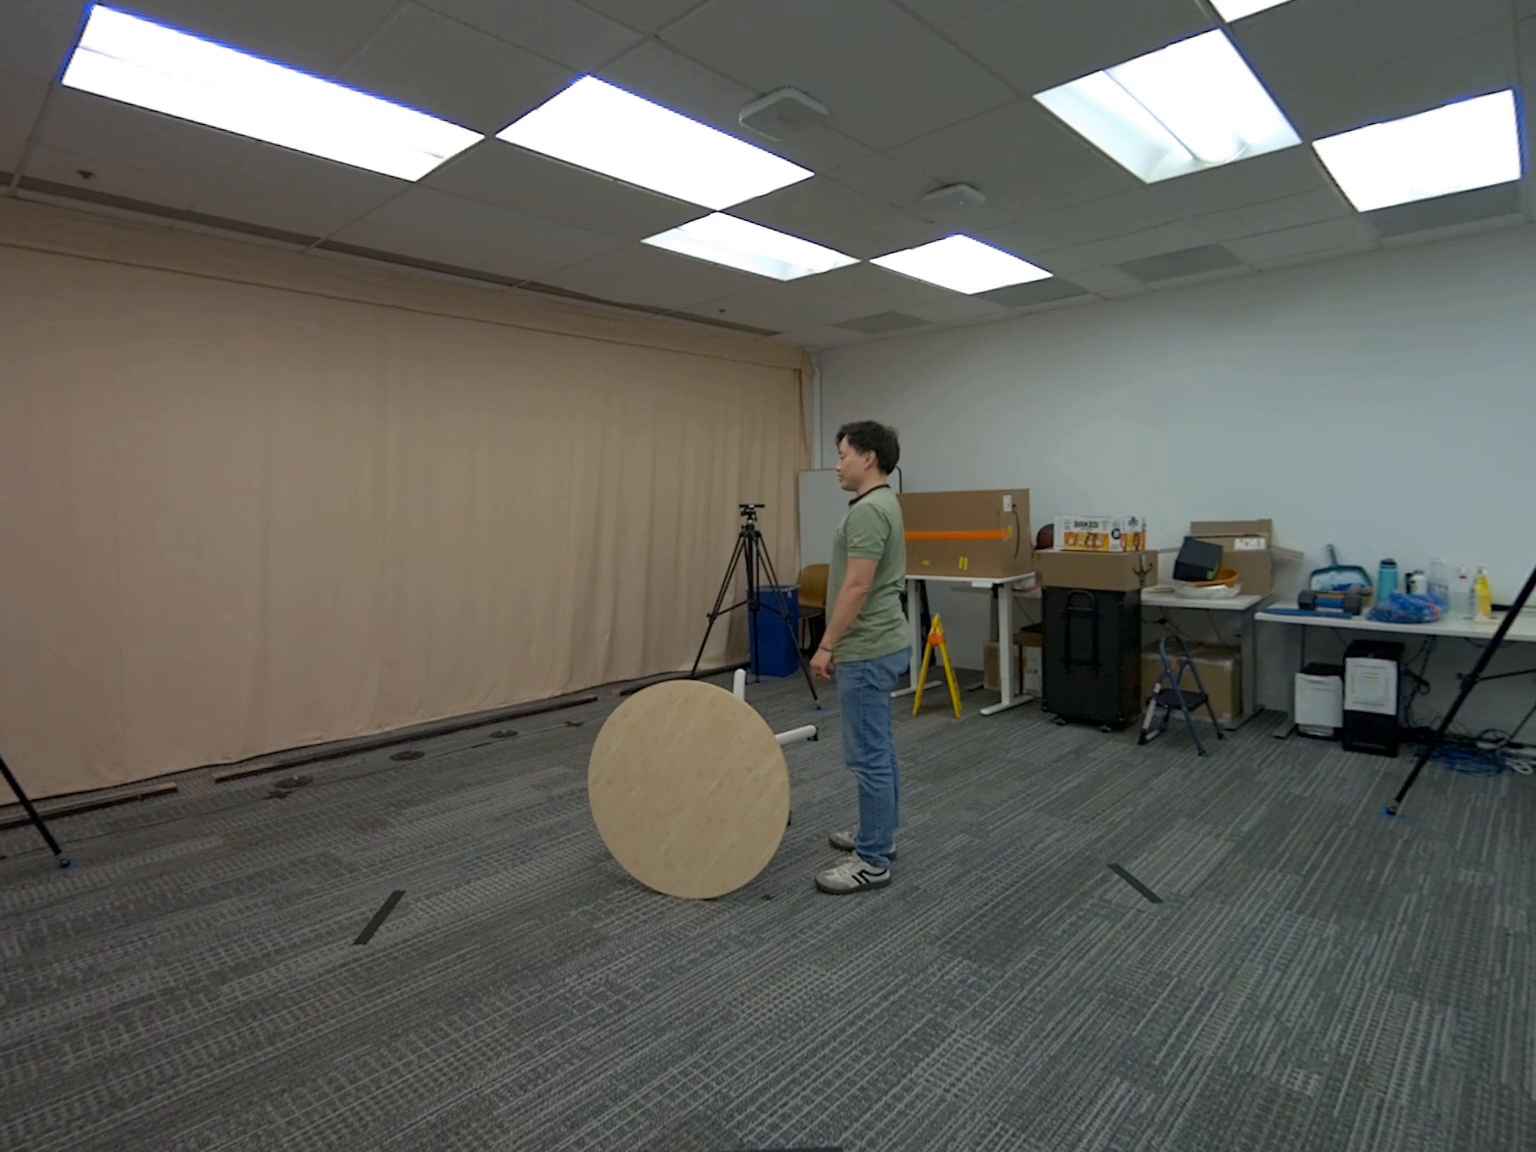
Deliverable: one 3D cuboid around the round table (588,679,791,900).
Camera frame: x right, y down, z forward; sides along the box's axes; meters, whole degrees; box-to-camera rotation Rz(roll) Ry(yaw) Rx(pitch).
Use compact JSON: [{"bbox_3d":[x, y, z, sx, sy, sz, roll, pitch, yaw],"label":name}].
[{"bbox_3d":[-0.204,0.766,3.384,0.777,0.765,0.780,0,-1,15],"label":"round table"}]
